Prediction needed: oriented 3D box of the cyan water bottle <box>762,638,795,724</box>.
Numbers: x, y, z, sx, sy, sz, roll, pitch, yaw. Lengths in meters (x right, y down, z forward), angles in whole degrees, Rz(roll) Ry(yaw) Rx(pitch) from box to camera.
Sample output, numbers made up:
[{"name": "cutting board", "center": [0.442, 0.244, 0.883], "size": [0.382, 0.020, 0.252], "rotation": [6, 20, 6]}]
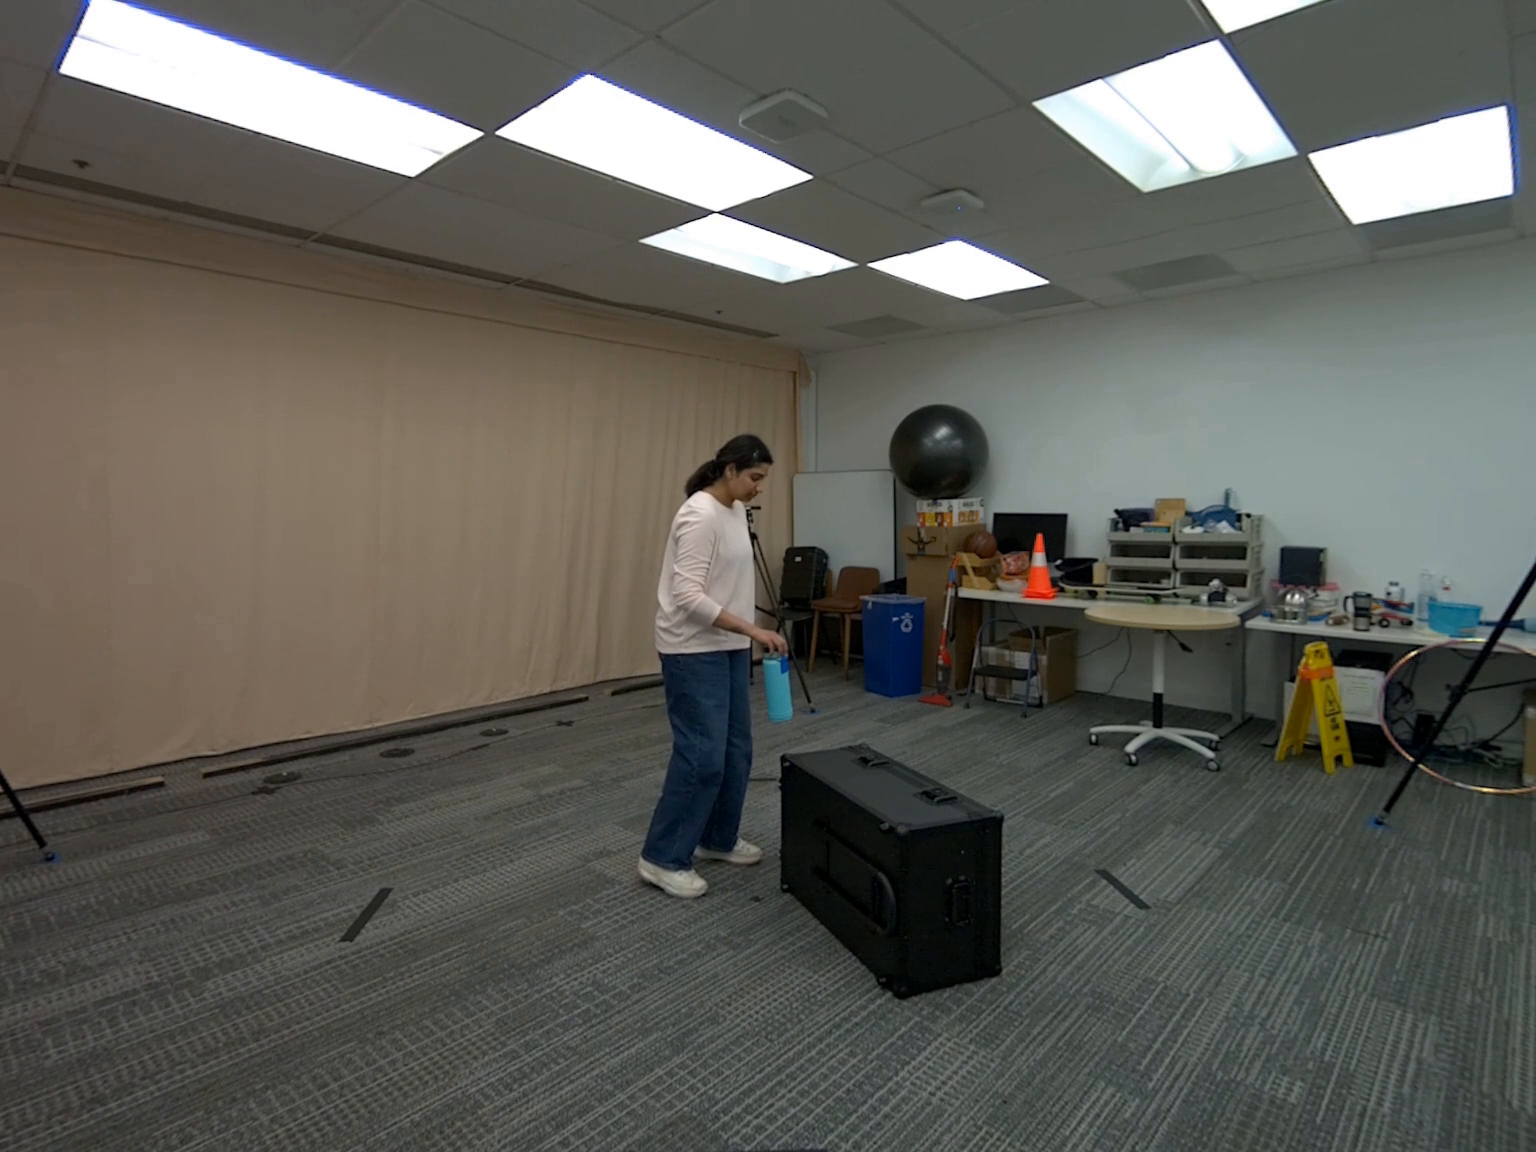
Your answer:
[{"name": "cyan water bottle", "center": [0.033, 0.373, 3.037], "size": [0.092, 0.282, 0.093], "rotation": [-4, 7, -1]}]
